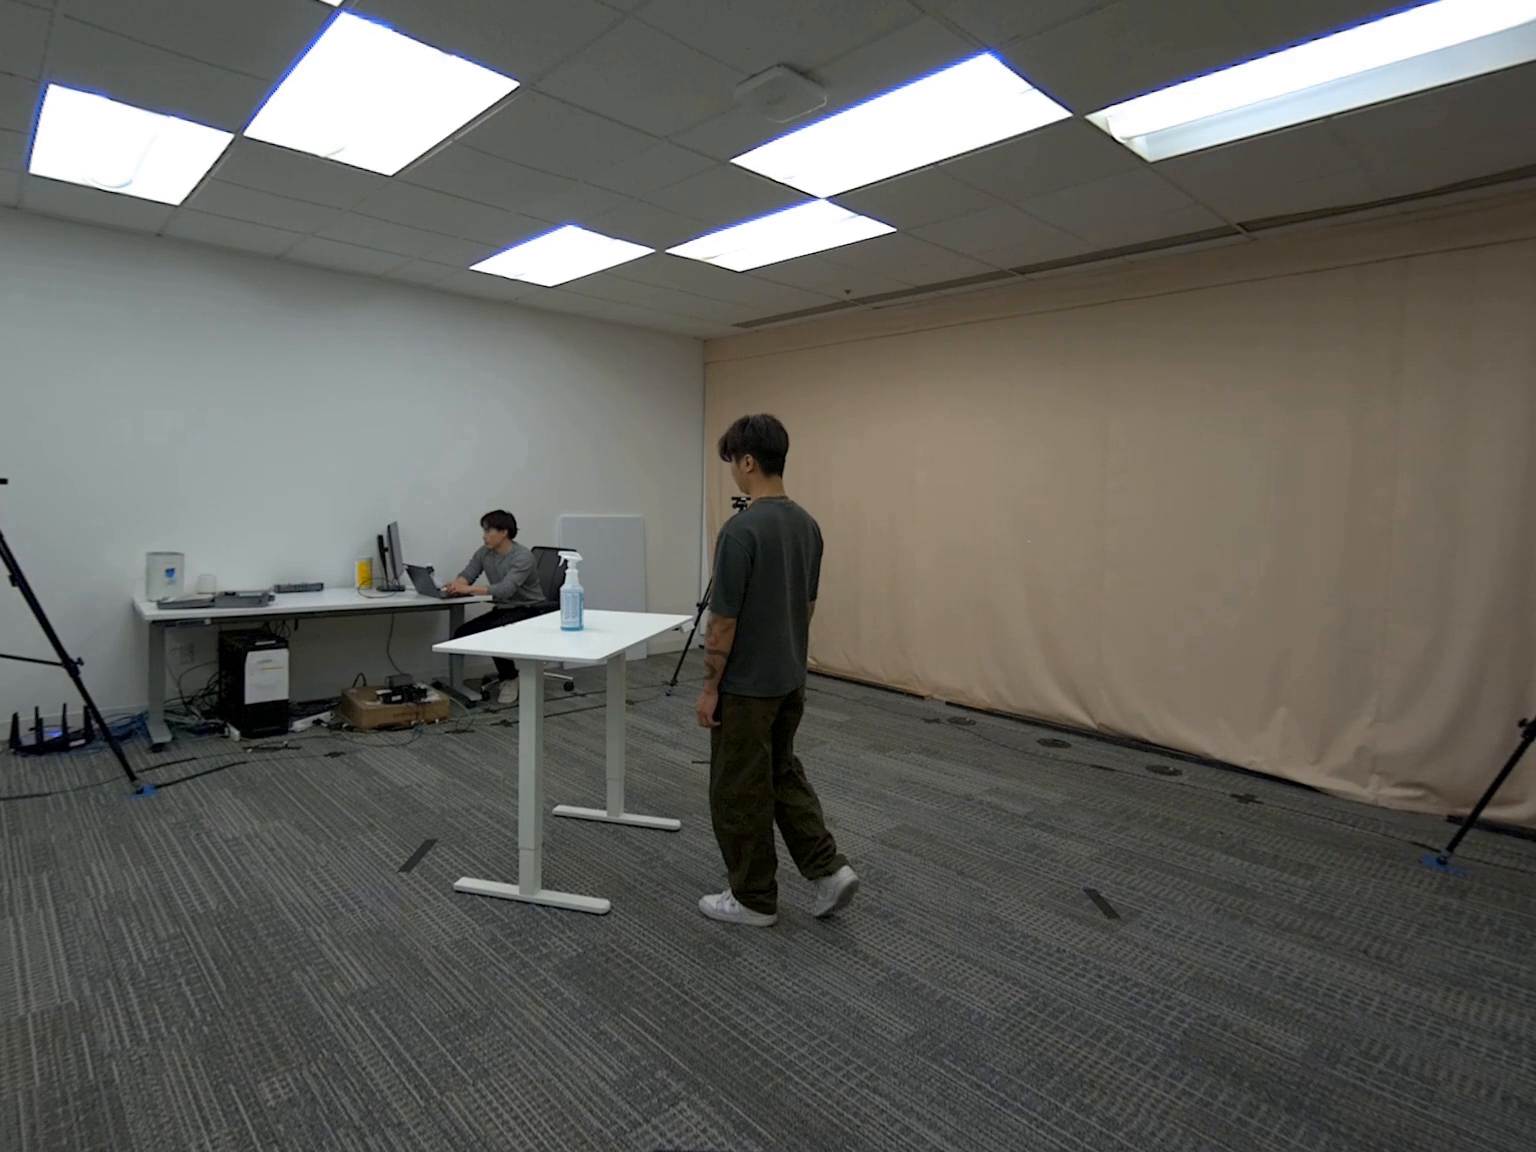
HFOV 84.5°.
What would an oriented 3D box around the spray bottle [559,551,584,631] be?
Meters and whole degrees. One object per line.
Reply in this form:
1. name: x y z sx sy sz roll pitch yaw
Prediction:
1. spray bottle: -0.747 0.058 3.180 0.092 0.296 0.085 3 4 28
